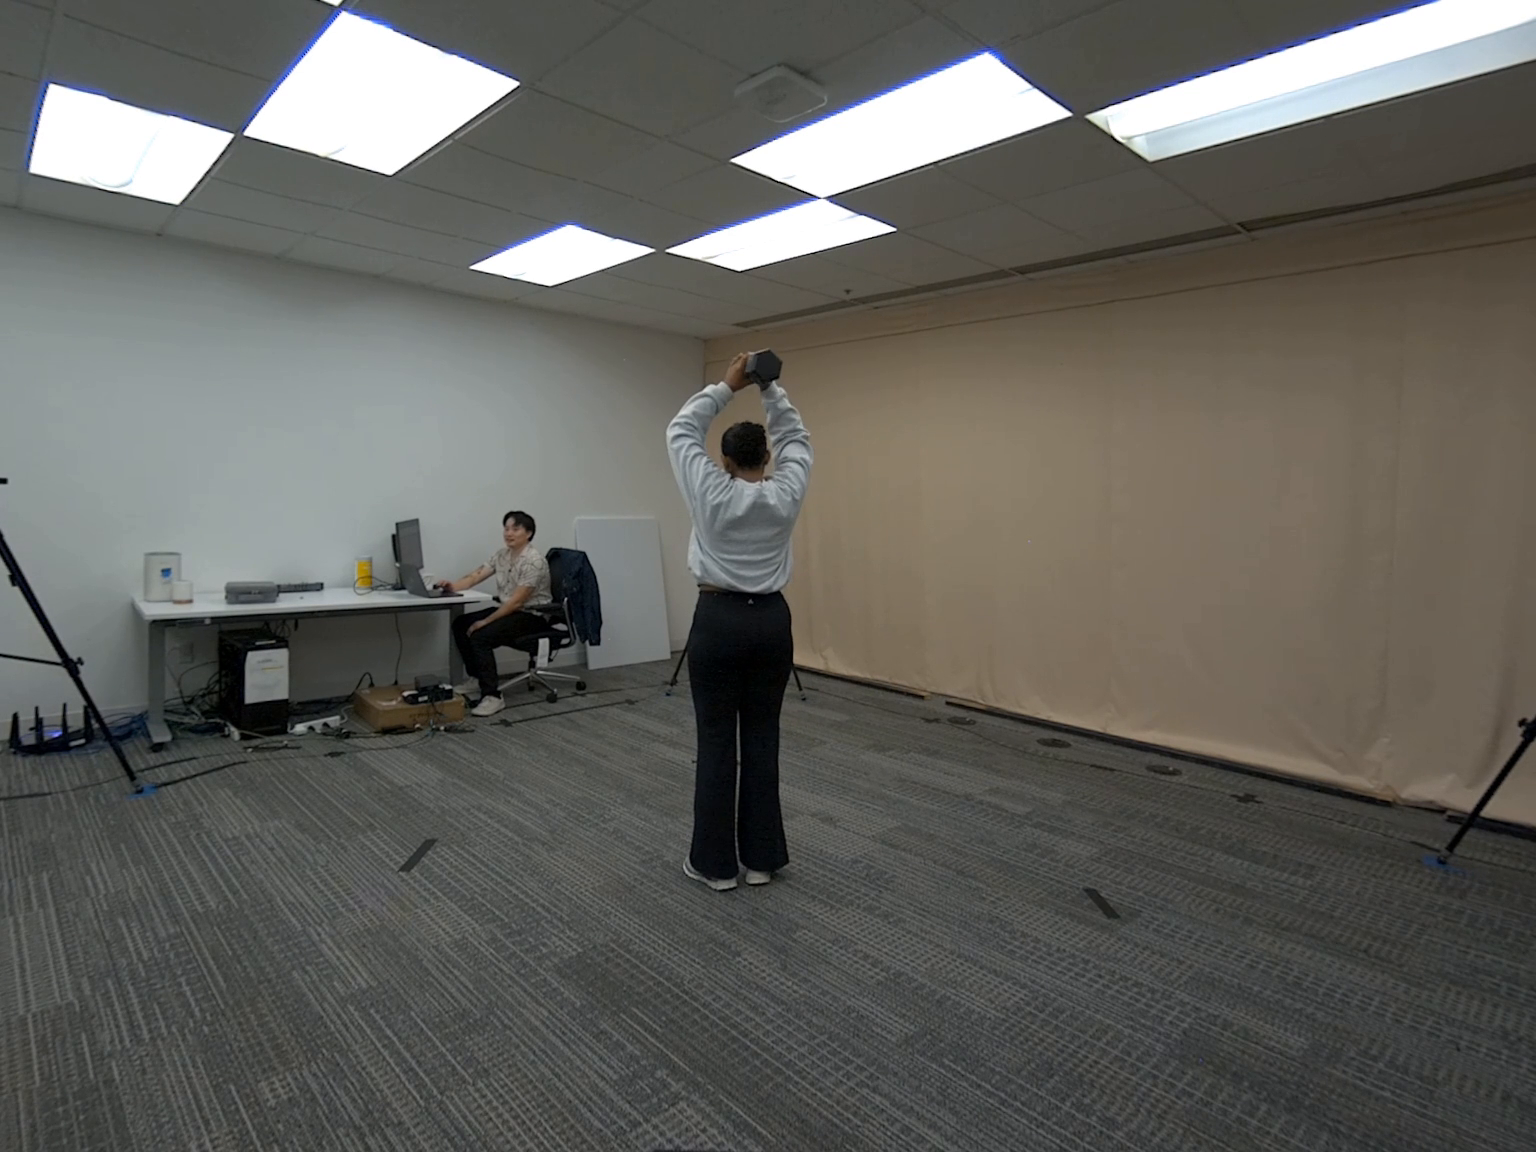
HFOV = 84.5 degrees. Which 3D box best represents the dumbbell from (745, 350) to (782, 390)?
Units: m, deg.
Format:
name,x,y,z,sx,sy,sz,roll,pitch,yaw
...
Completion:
name,x,y,z,sx,sy,sz,roll,pitch,yaw
dumbbell,-0.057,-0.721,2.995,0.120,0.109,0.299,44,-5,-20
